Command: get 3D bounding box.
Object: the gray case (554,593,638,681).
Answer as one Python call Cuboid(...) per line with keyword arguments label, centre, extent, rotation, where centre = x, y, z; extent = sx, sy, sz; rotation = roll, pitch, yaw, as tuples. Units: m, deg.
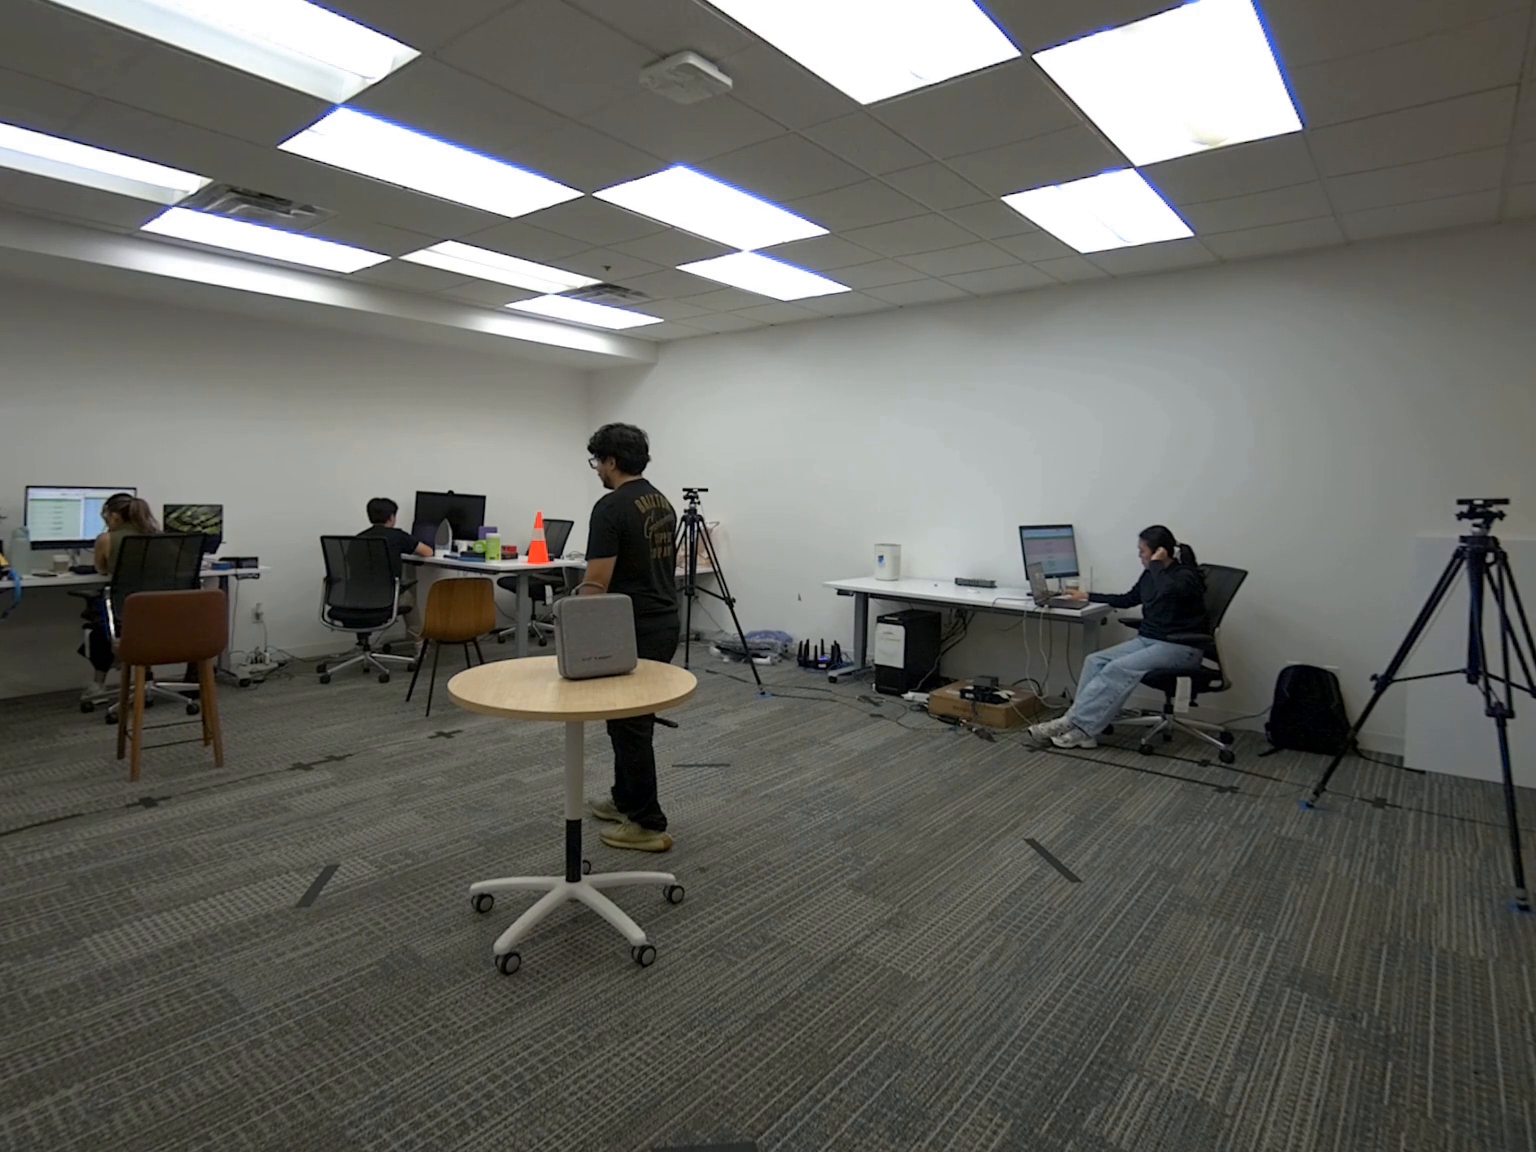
Cuboid(label="gray case", centre=(-0.569, 0.183, 2.741), extent=(0.250, 0.262, 0.106), rotation=(-2, -7, -34))
